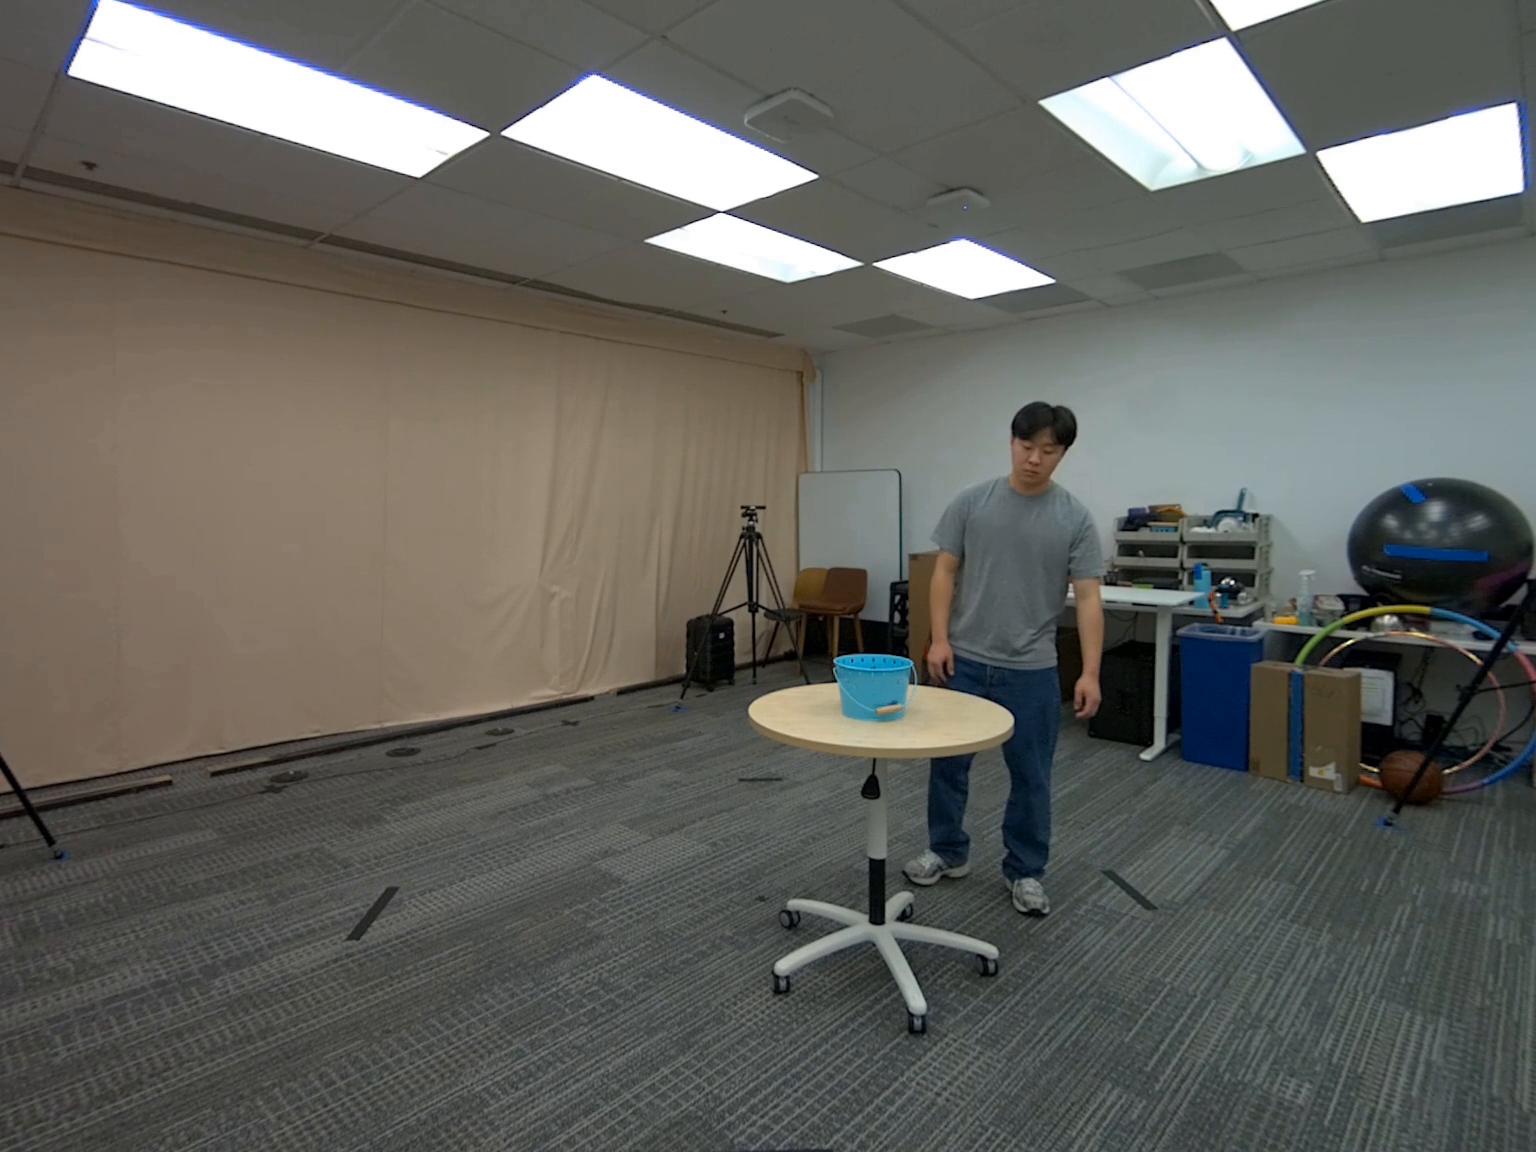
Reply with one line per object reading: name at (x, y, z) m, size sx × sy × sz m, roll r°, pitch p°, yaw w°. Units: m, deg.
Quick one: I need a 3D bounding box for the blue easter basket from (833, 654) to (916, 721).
blue easter basket at (0.316, 0.332, 2.453) m, size 0.243 × 0.155 × 0.244 m, roll 0°, pitch 5°, yaw -2°
